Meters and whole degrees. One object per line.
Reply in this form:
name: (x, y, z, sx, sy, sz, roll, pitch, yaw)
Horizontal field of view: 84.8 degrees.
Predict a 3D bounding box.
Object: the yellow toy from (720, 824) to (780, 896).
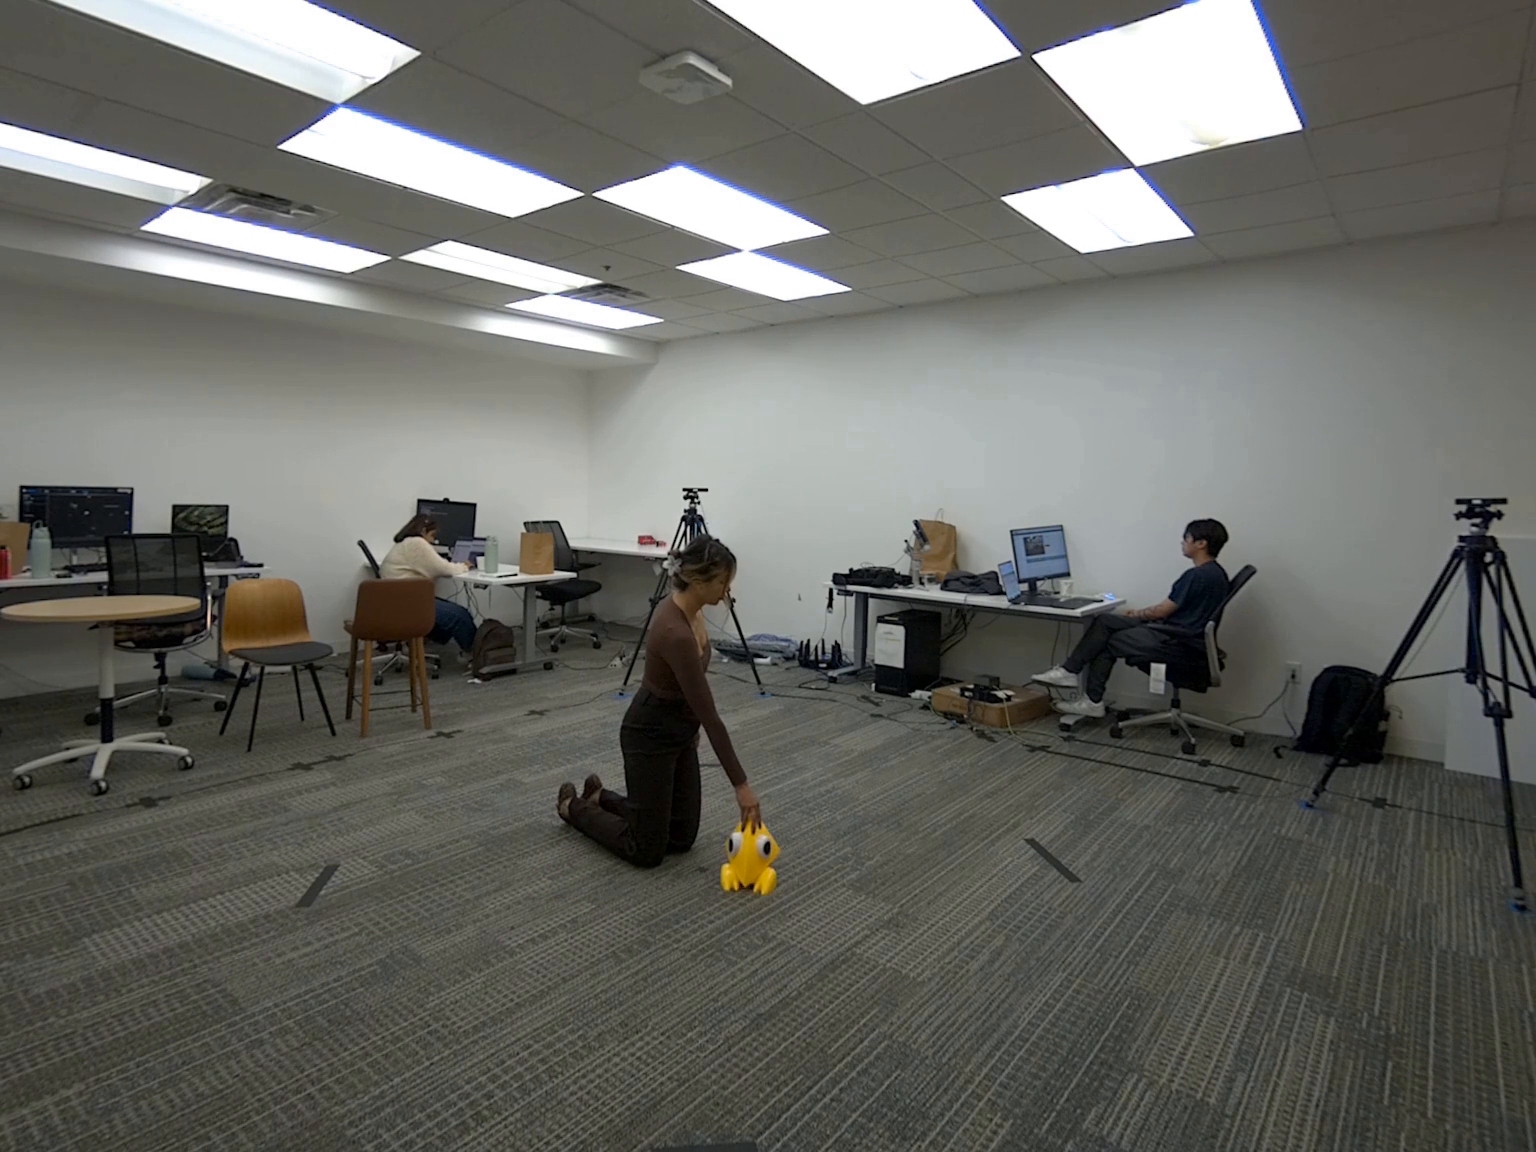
yellow toy: (-0.080, 0.968, 3.008, 0.207, 0.230, 0.192, 2, 5, 8)
